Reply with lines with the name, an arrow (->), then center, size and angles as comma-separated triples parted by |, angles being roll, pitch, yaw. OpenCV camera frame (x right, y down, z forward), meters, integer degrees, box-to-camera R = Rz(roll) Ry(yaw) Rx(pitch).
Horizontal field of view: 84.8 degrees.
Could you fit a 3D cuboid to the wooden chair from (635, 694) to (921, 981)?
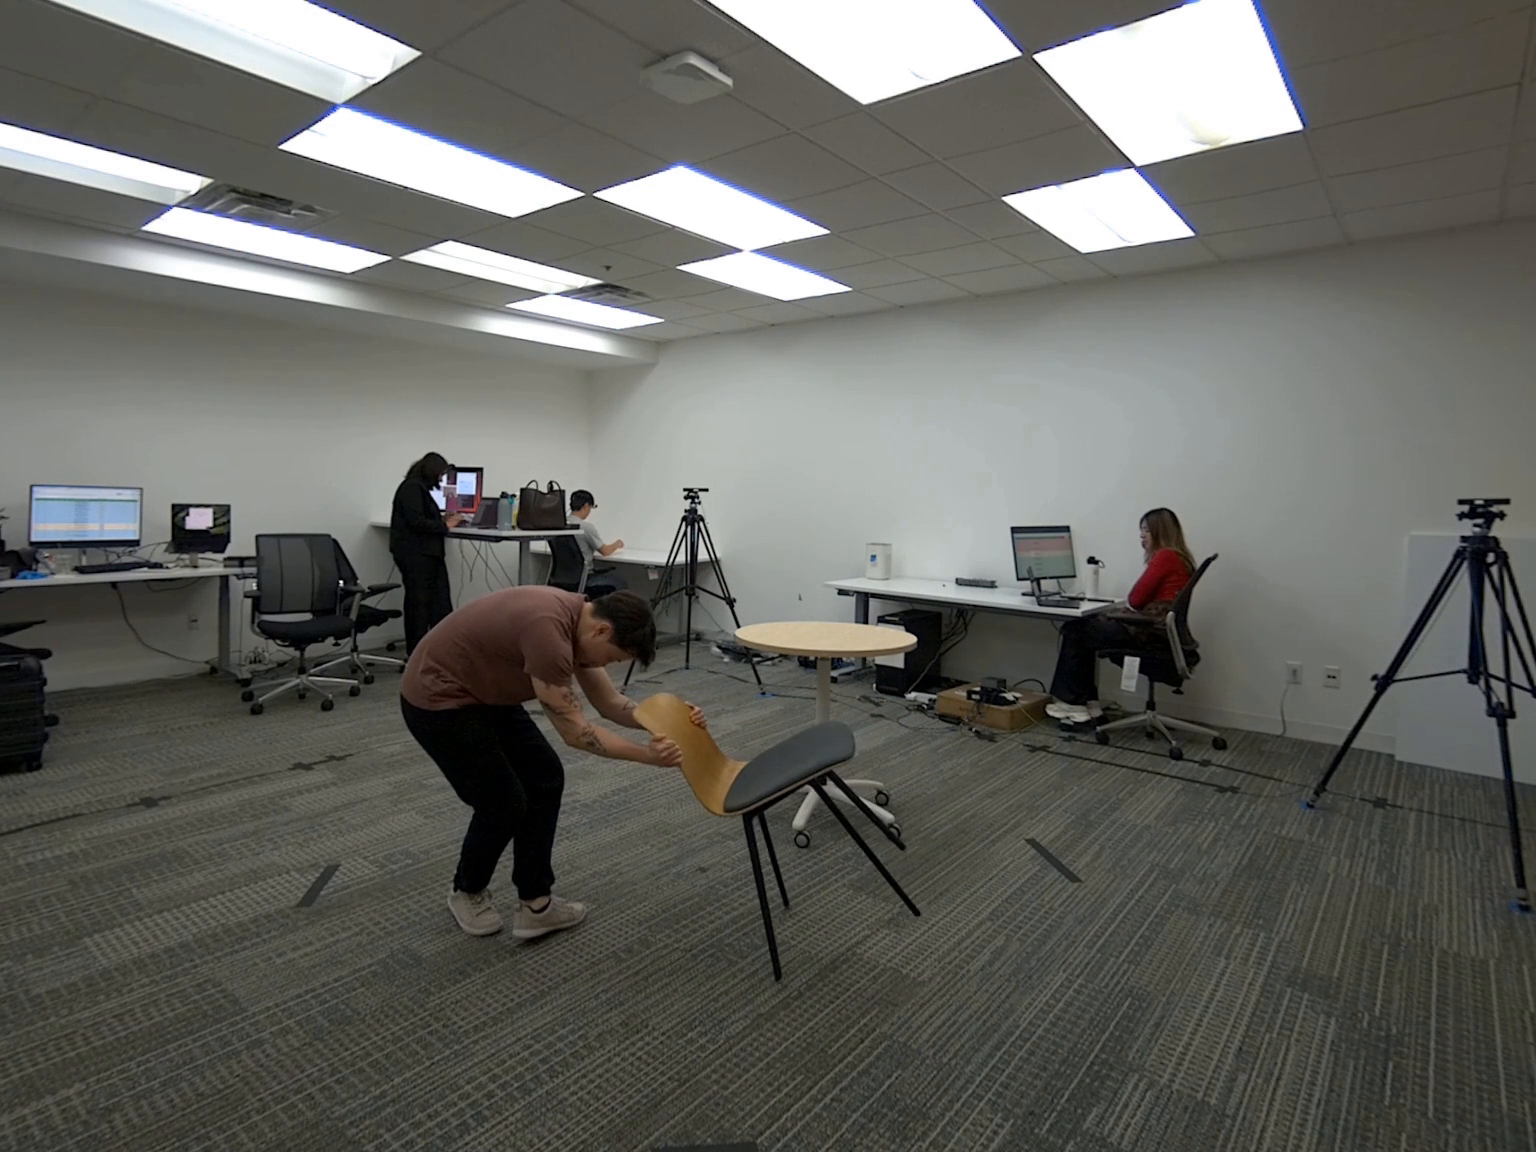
wooden chair -> 0.039, 0.646, 2.586 | 0.524, 0.879, 0.476 | -32, -1, 7
